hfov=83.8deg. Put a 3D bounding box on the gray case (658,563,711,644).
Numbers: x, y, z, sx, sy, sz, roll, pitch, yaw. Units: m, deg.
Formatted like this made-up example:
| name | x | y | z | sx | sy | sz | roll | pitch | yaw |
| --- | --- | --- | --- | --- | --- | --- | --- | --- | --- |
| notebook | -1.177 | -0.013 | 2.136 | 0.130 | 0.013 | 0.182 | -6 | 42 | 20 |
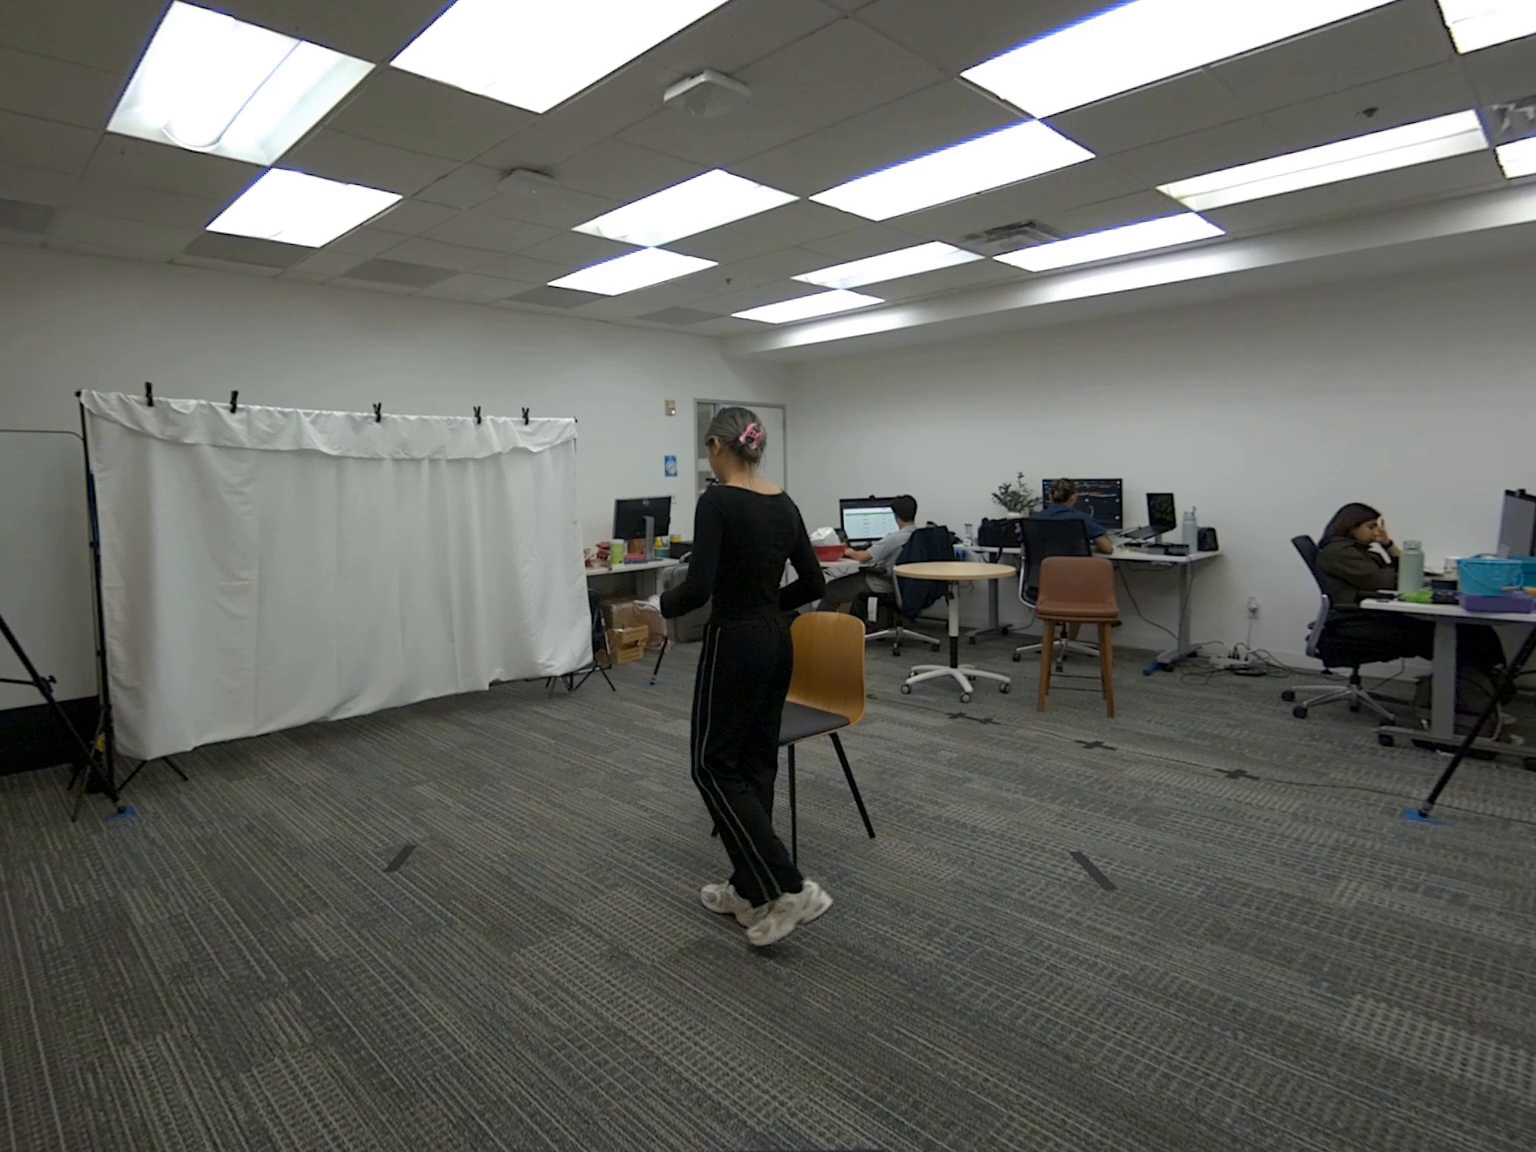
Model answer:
| name | x | y | z | sx | sy | sz | roll | pitch | yaw |
| --- | --- | --- | --- | --- | --- | --- | --- | --- | --- |
| gray case | -0.207 | 0.078 | 2.817 | 0.250 | 0.260 | 0.107 | -5 | 1 | -41 |
